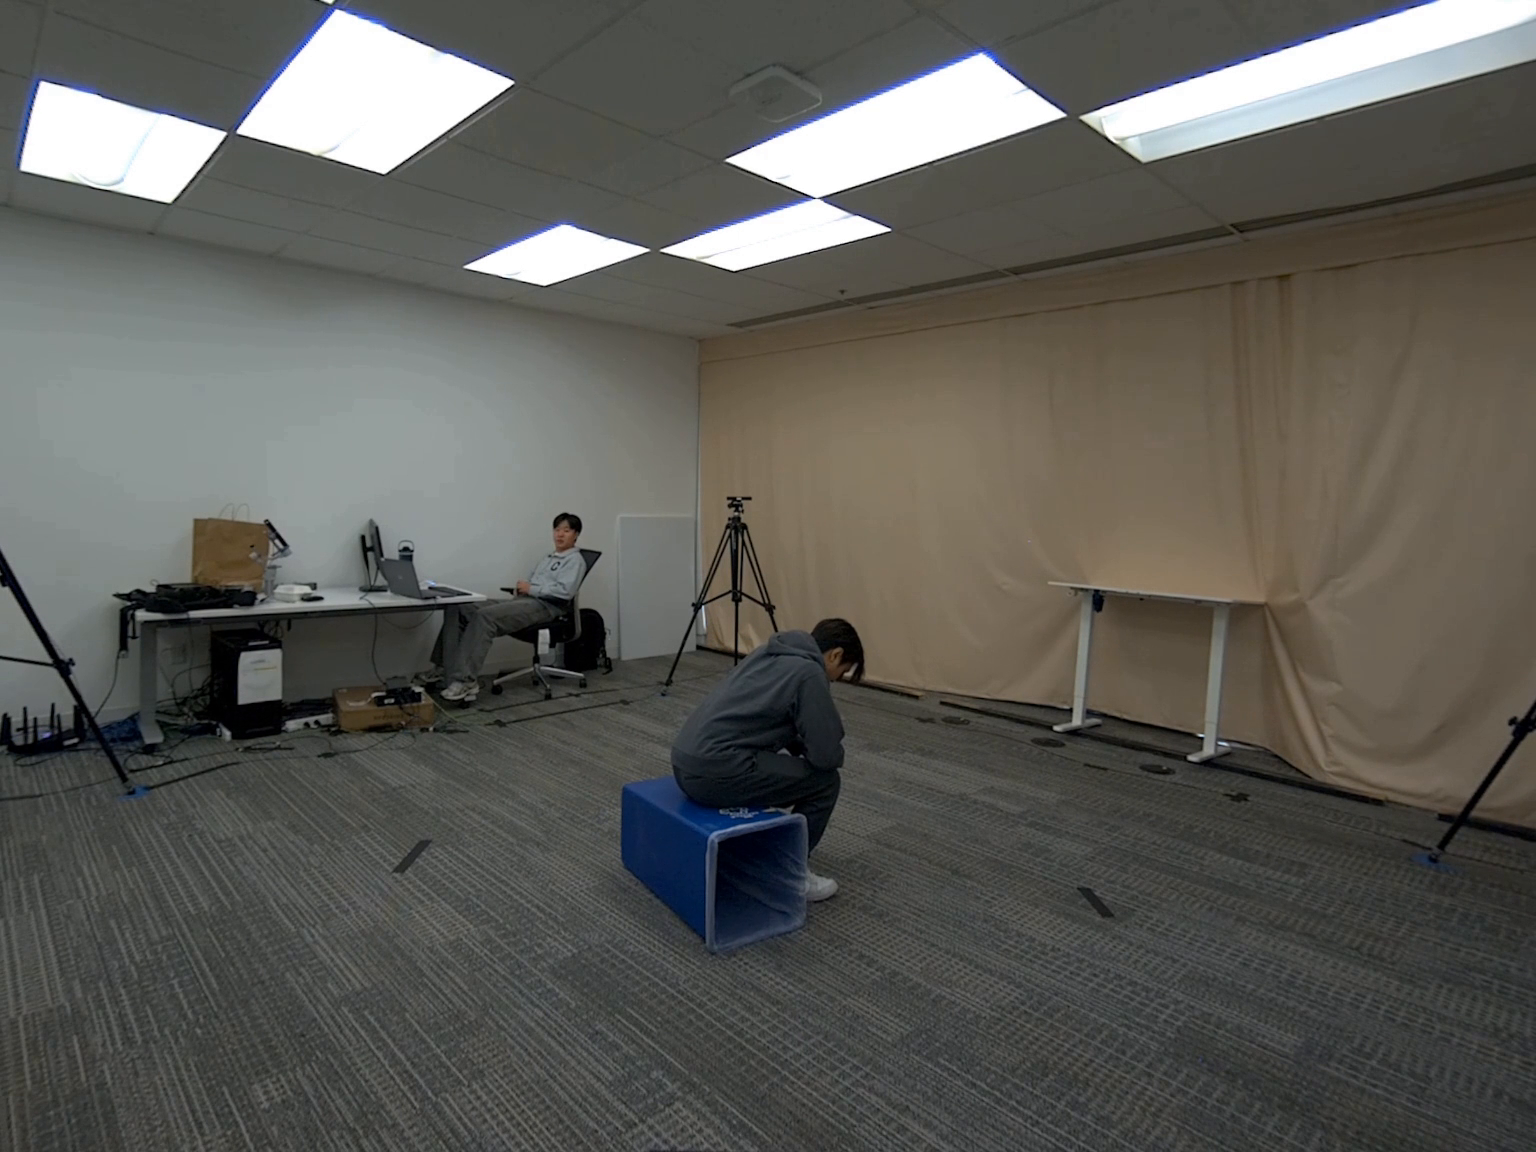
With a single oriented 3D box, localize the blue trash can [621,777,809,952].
[{"bbox_3d":[-0.238,0.951,2.936,0.366,0.378,0.729,-1,2,-35],"label":"blue trash can"}]
